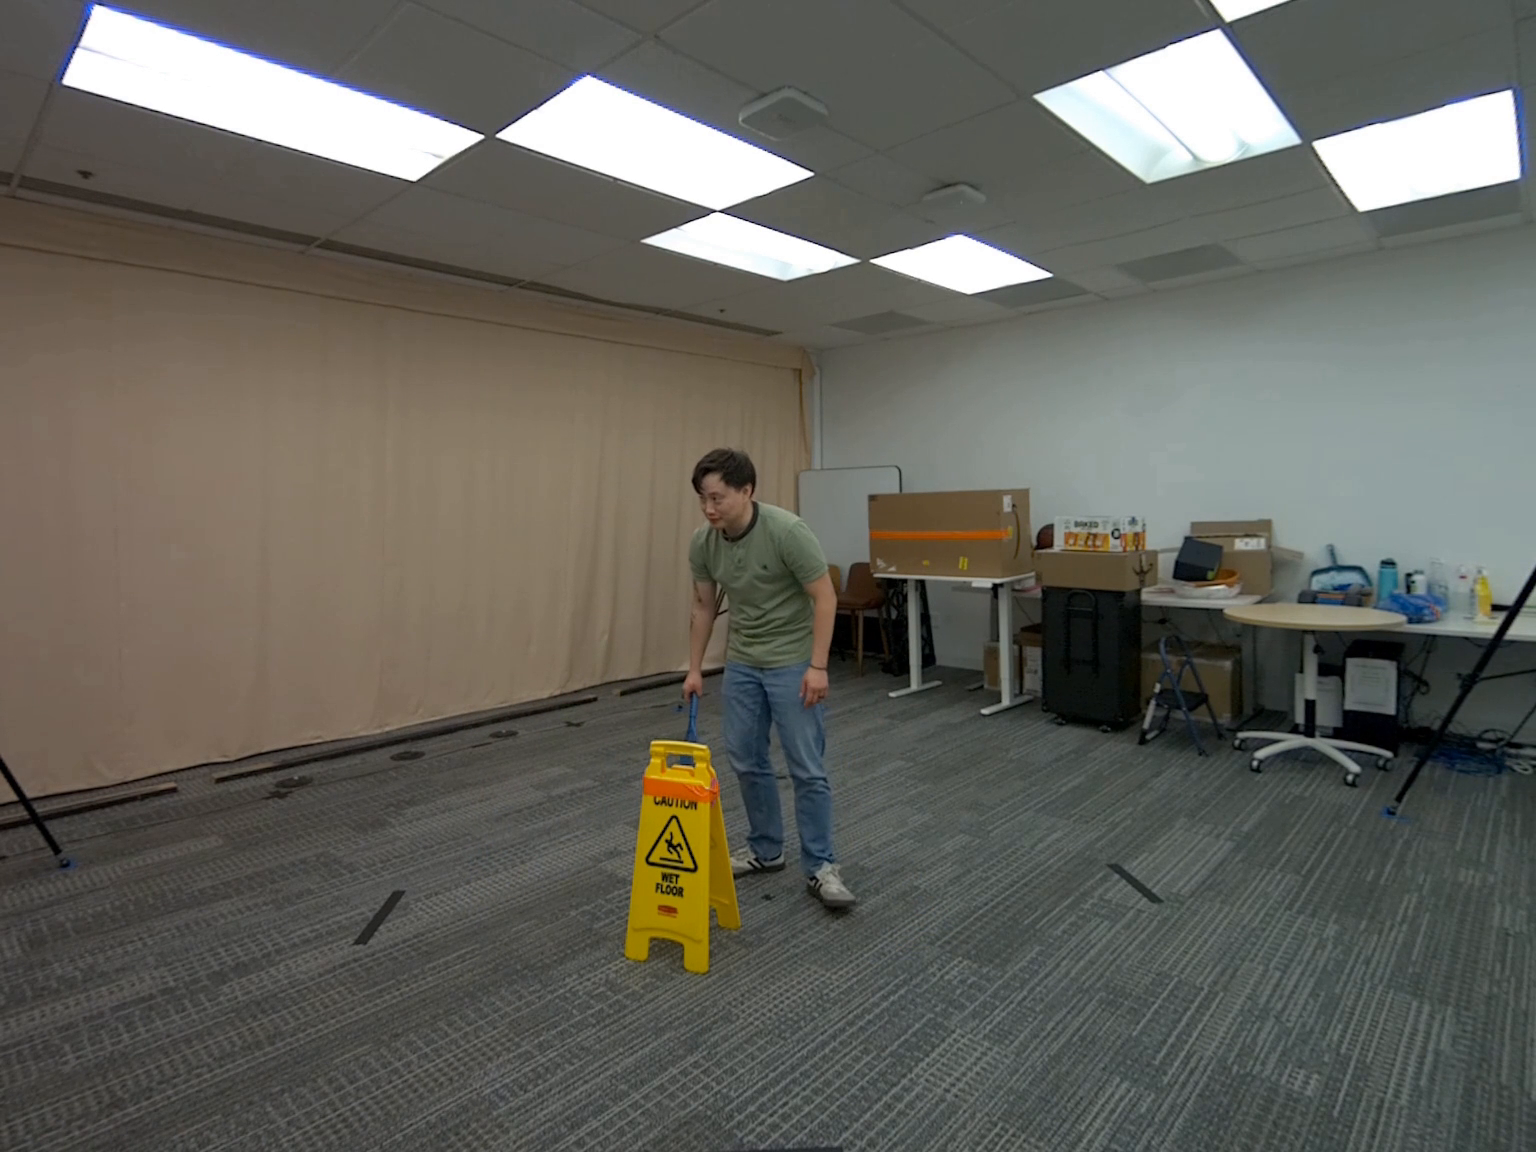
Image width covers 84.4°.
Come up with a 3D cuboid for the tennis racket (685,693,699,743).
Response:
[{"bbox_3d":[-0.228,0.667,3.111,0.031,0.438,0.218,9,-23,-37],"label":"tennis racket"}]
